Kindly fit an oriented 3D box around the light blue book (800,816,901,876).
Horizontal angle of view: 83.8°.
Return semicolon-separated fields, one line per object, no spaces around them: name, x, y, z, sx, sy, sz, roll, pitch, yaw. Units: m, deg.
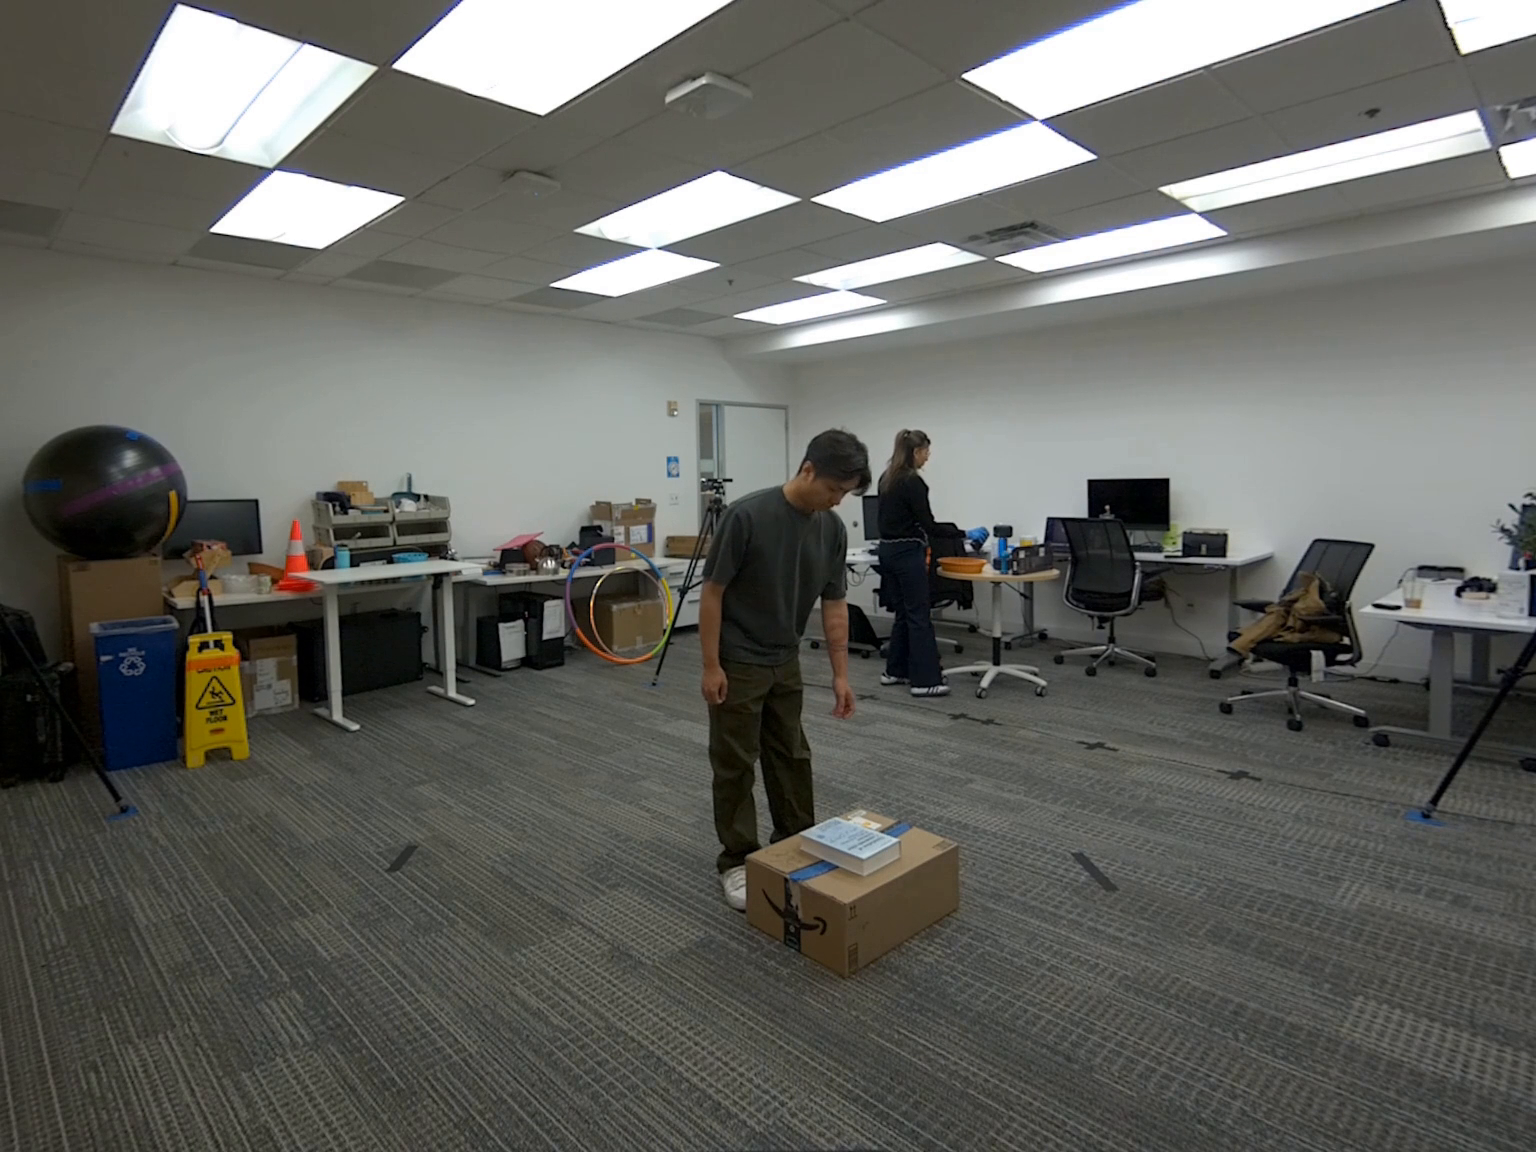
light blue book;0.259;0.845;2.699;0.186;0.059;0.269;-8;10;-43
